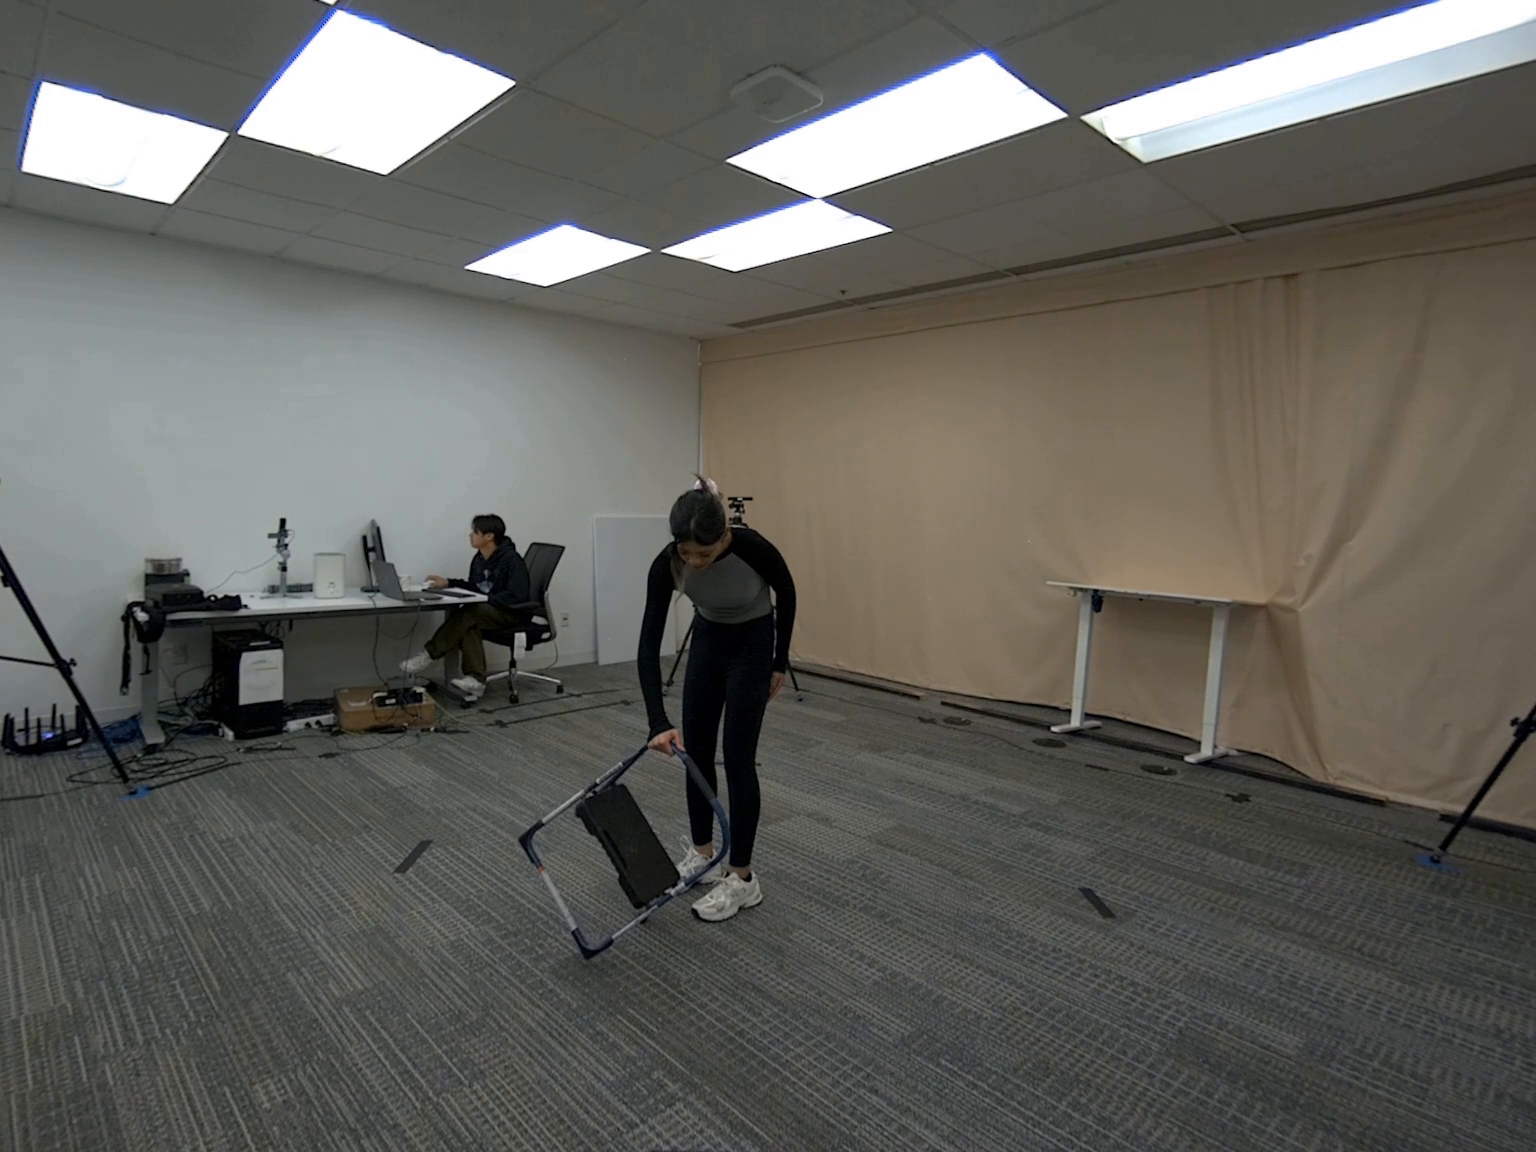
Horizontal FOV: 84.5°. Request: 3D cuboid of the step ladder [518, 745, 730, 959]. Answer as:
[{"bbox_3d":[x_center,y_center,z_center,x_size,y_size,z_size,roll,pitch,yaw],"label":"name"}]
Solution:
[{"bbox_3d":[-0.383,0.781,2.572,0.607,0.438,0.343,-42,-16,19],"label":"step ladder"}]
